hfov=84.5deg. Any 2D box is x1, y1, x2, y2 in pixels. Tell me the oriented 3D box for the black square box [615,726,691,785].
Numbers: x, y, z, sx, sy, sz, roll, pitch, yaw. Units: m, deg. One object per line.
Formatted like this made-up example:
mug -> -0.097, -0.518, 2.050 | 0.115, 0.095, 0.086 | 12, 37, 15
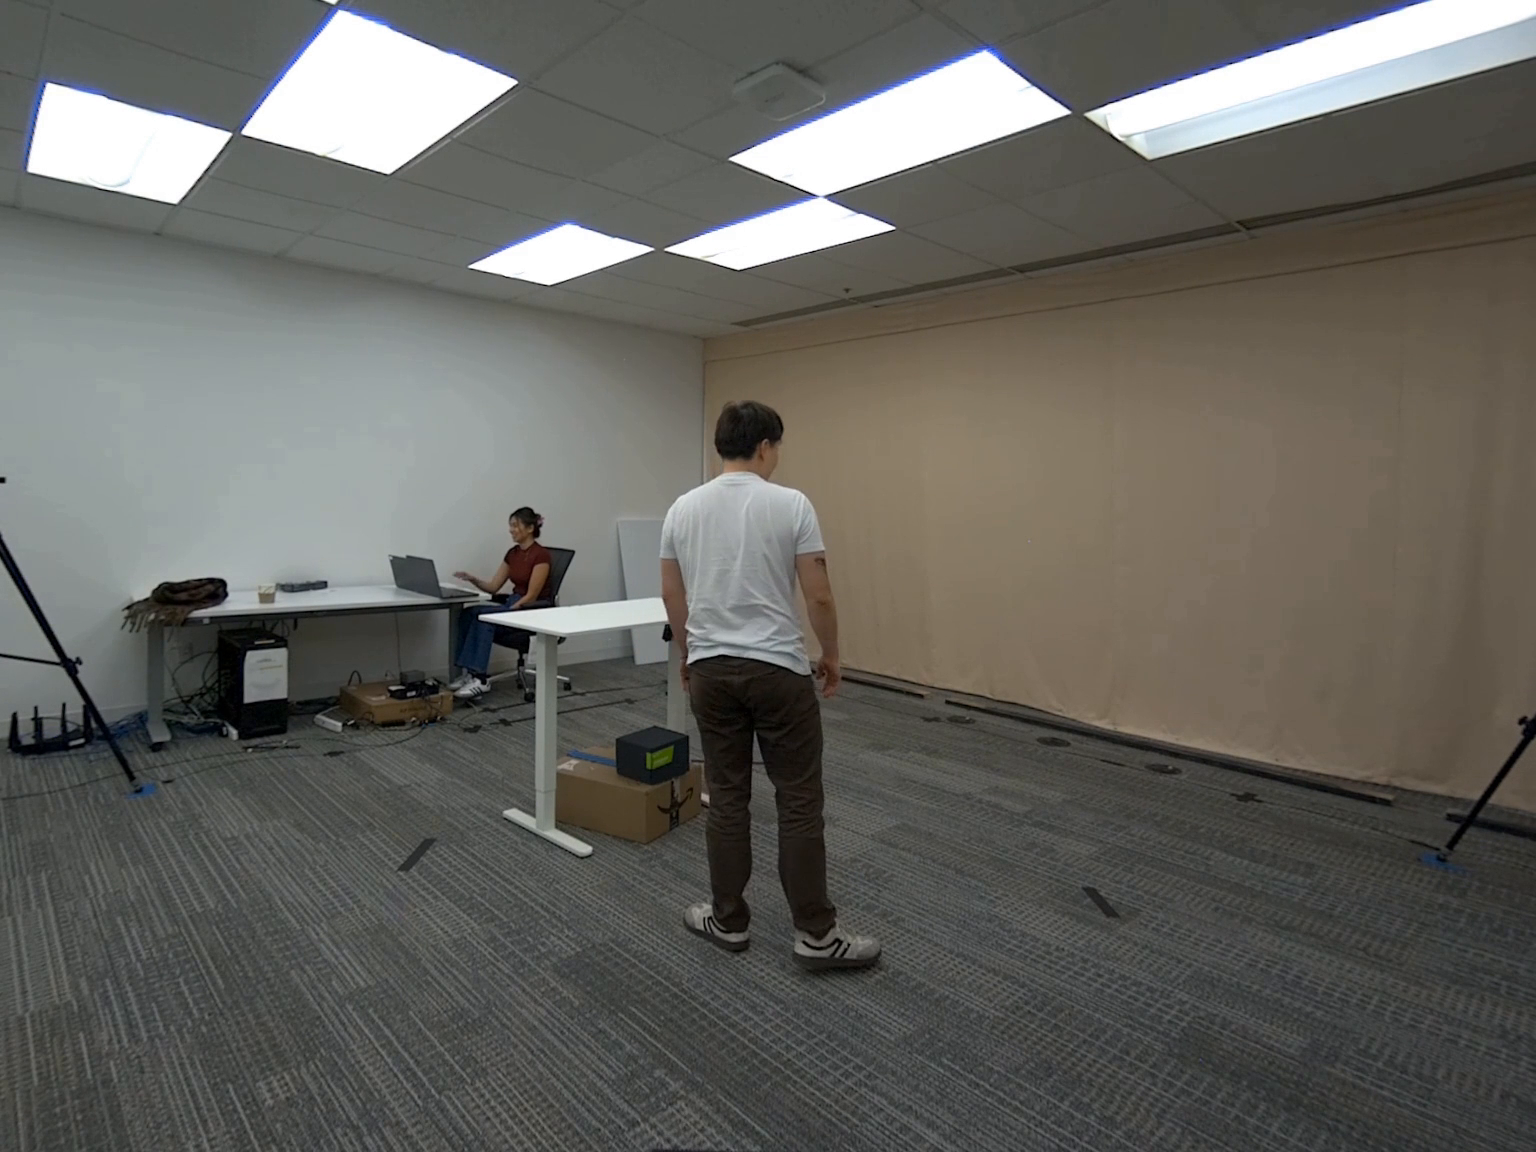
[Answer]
black square box -> -0.498, 0.751, 3.552 | 0.222, 0.155, 0.223 | 5, 8, 38
